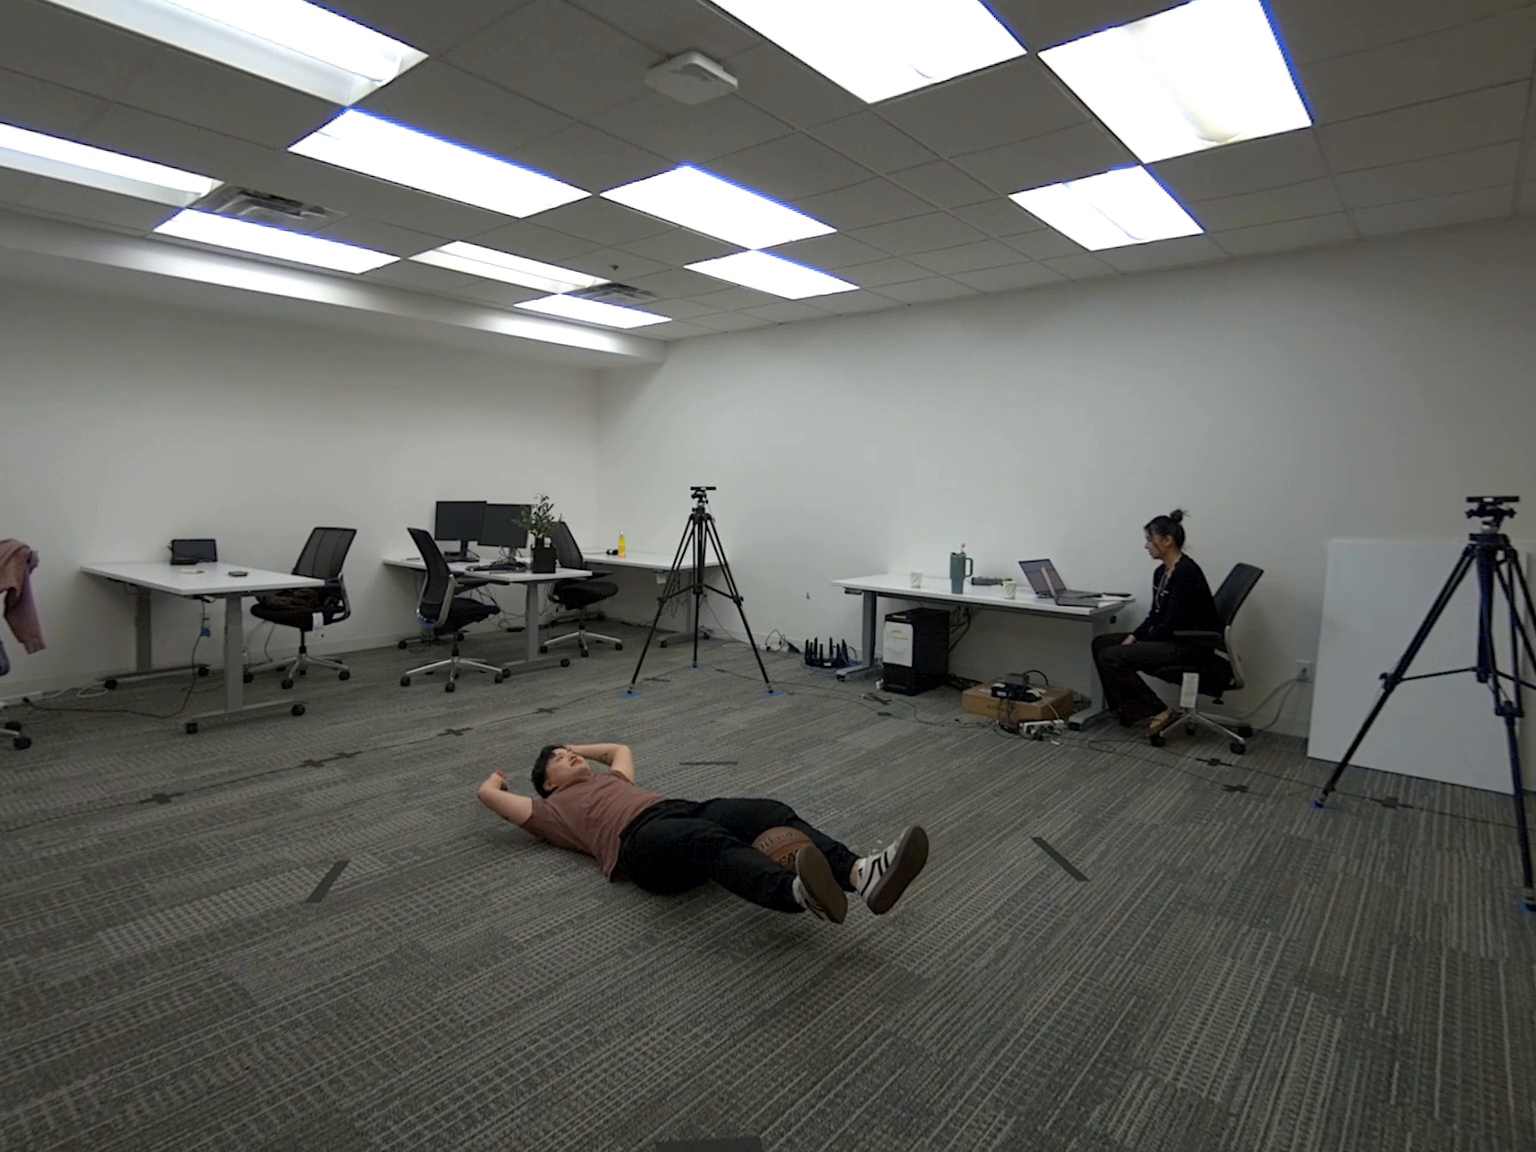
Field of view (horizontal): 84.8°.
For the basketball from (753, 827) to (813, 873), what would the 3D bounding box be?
[{"bbox_3d":[0.044,0.902,2.642,0.235,0.235,0.237,1,5,-2],"label":"basketball"}]
